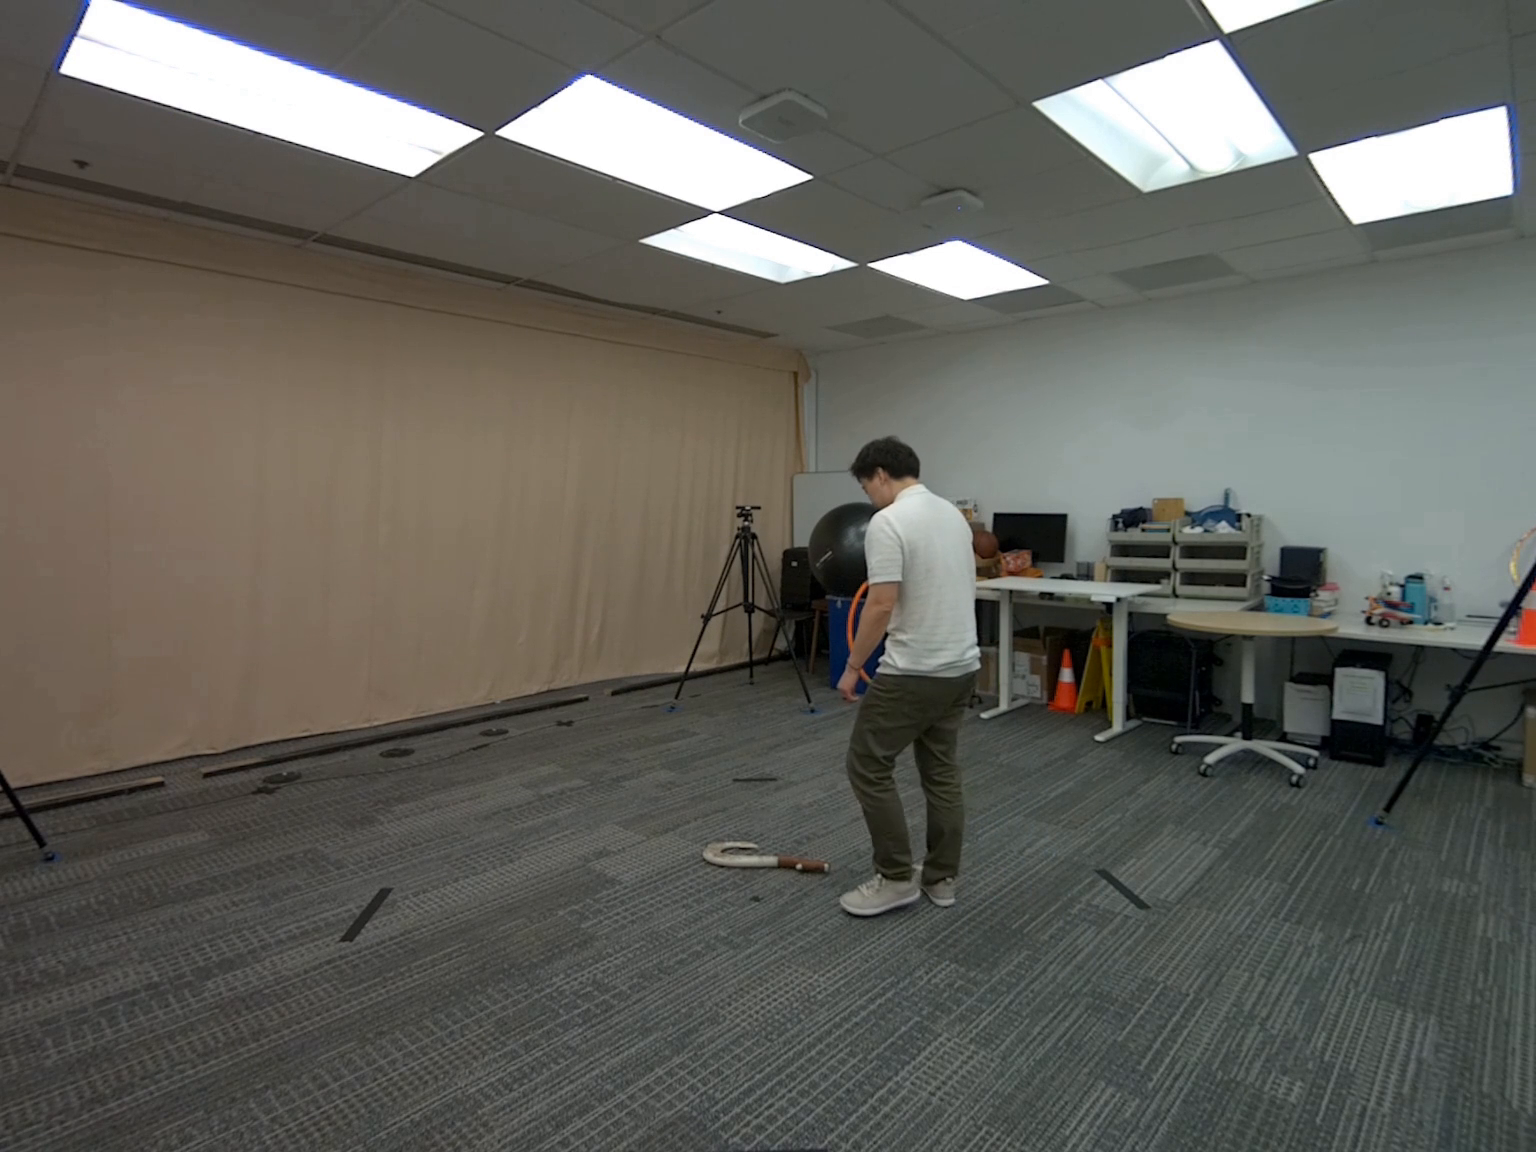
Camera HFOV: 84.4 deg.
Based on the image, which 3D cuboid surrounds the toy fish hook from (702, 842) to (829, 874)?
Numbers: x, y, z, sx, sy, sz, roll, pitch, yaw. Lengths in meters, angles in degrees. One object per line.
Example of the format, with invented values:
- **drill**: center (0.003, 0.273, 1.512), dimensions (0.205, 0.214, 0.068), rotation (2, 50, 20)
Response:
- **toy fish hook**: center (0.000, 1.092, 3.297), dimensions (0.515, 0.048, 0.222), rotation (1, 7, 14)
